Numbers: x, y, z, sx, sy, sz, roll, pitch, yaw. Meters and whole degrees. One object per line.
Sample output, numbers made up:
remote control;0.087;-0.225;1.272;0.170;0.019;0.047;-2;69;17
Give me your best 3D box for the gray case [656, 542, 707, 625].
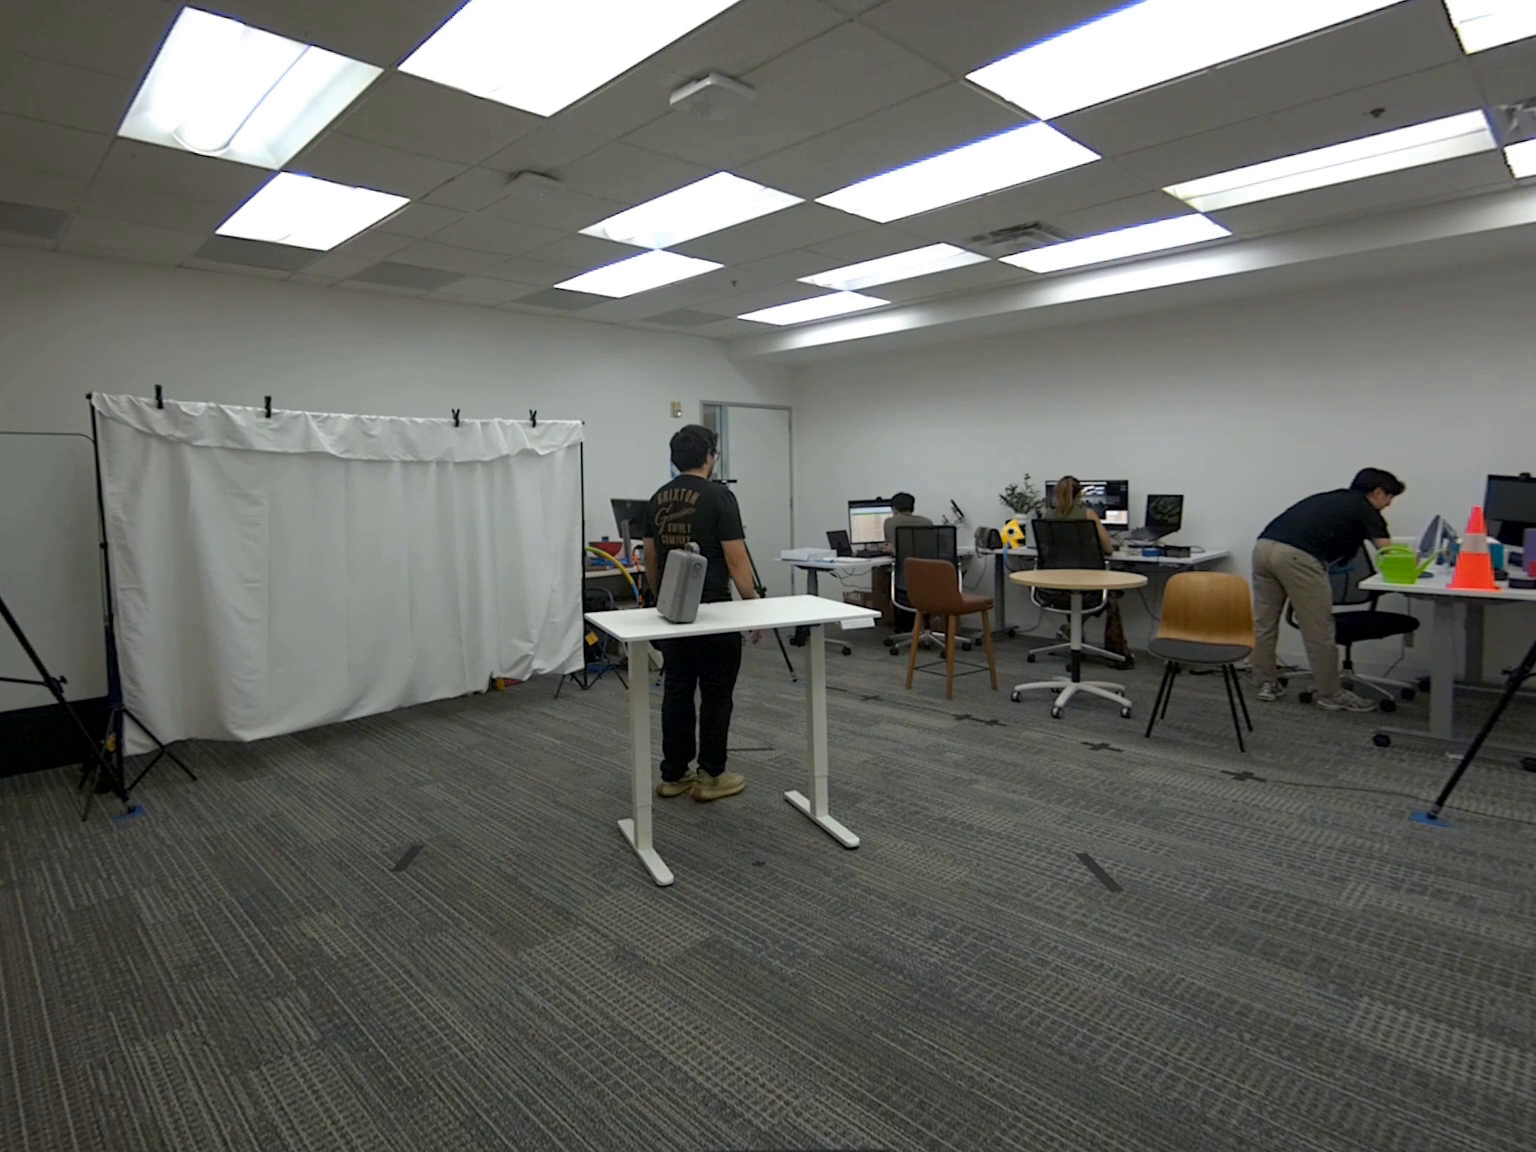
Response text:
gray case;-0.327;0.032;3.184;0.103;0.260;0.261;5;2;-14
